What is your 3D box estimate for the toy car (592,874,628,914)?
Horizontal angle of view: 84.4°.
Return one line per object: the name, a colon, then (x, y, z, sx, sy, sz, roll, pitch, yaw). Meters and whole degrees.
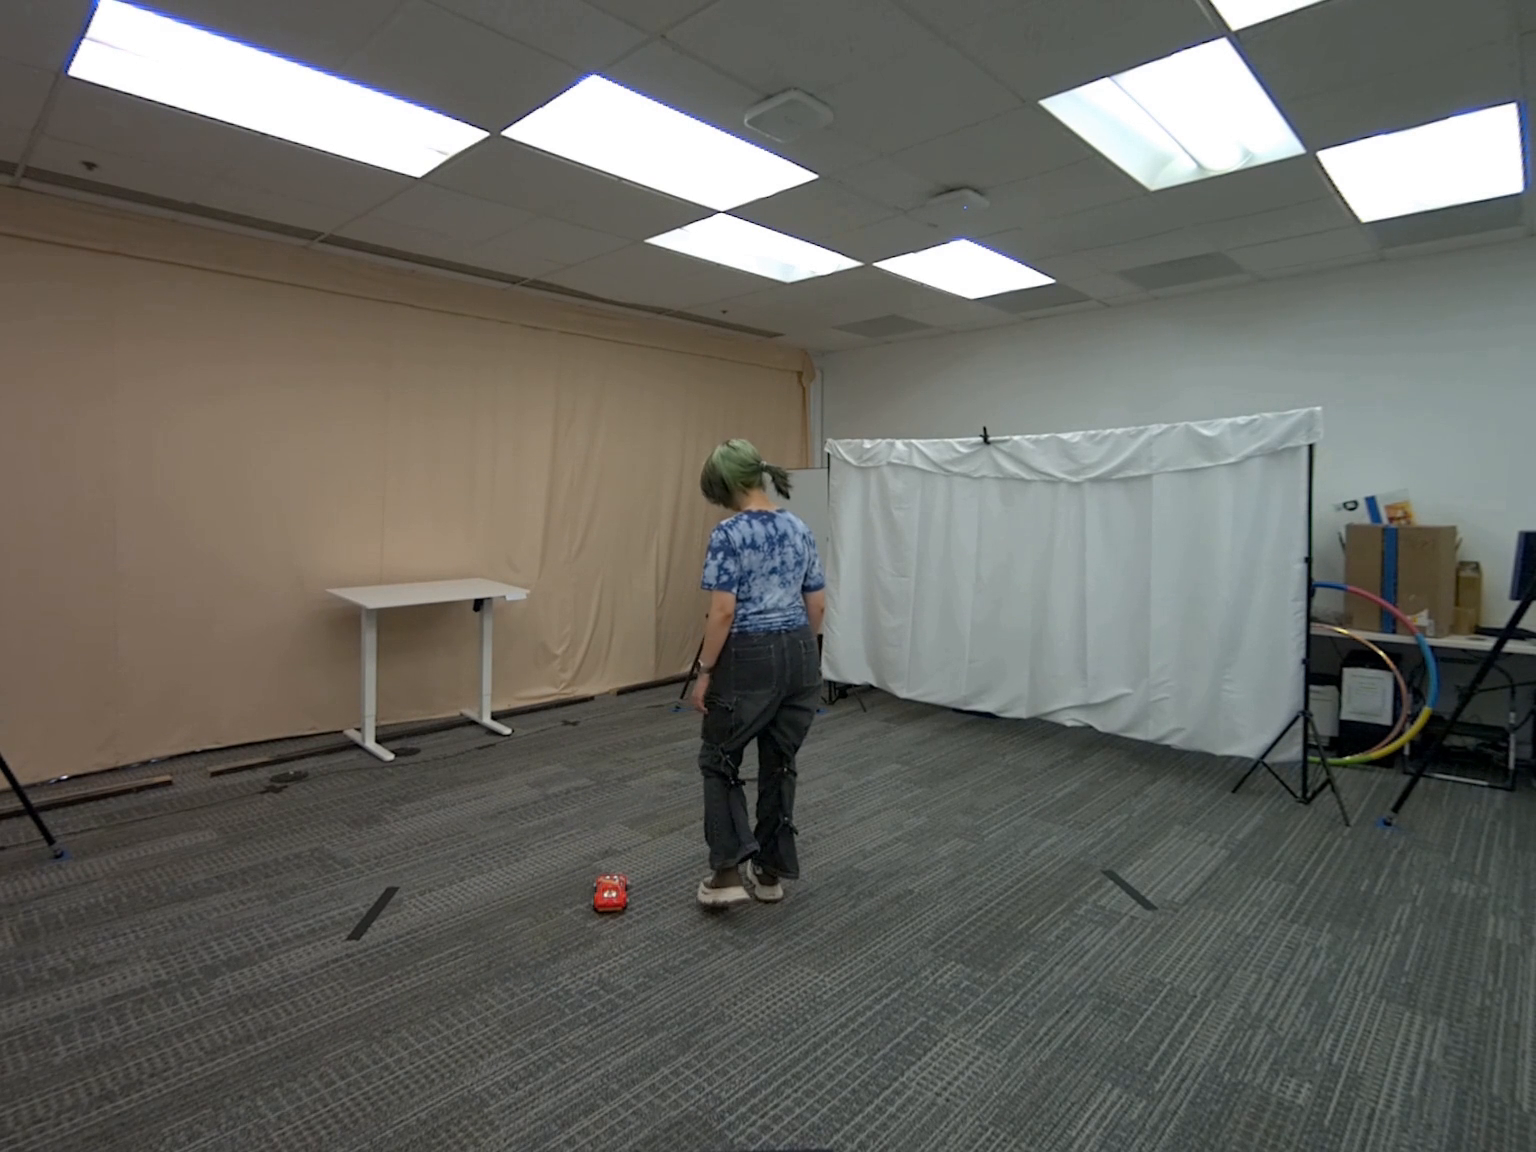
toy car: (-0.553, 1.123, 2.963, 0.129, 0.083, 0.255, 0, -7, -7)
